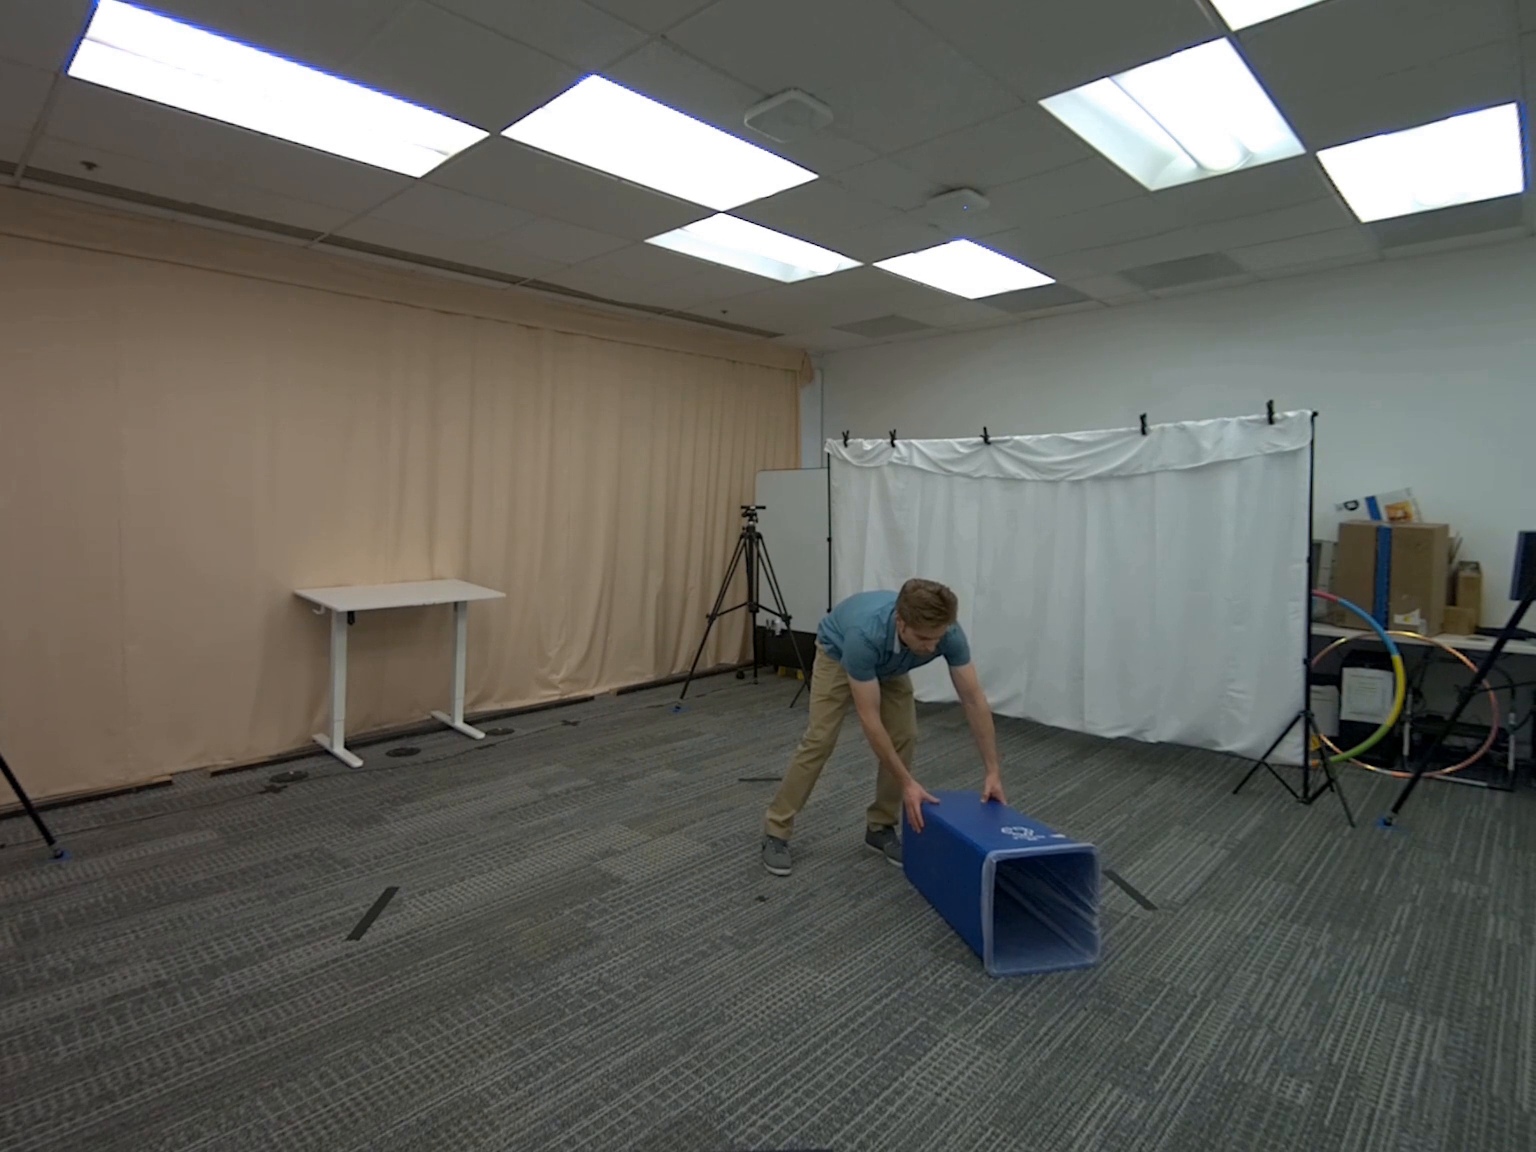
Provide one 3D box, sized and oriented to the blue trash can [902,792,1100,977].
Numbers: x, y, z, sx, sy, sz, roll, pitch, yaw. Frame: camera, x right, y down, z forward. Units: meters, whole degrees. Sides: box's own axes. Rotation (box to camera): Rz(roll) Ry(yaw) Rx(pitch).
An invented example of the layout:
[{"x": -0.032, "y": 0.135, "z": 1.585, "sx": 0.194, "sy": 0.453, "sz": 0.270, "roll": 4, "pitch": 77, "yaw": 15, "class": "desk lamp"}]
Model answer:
[{"x": 0.747, "y": 0.988, "z": 2.846, "sx": 0.369, "sy": 0.378, "sz": 0.723, "roll": 0, "pitch": 1, "yaw": -13, "class": "blue trash can"}]
